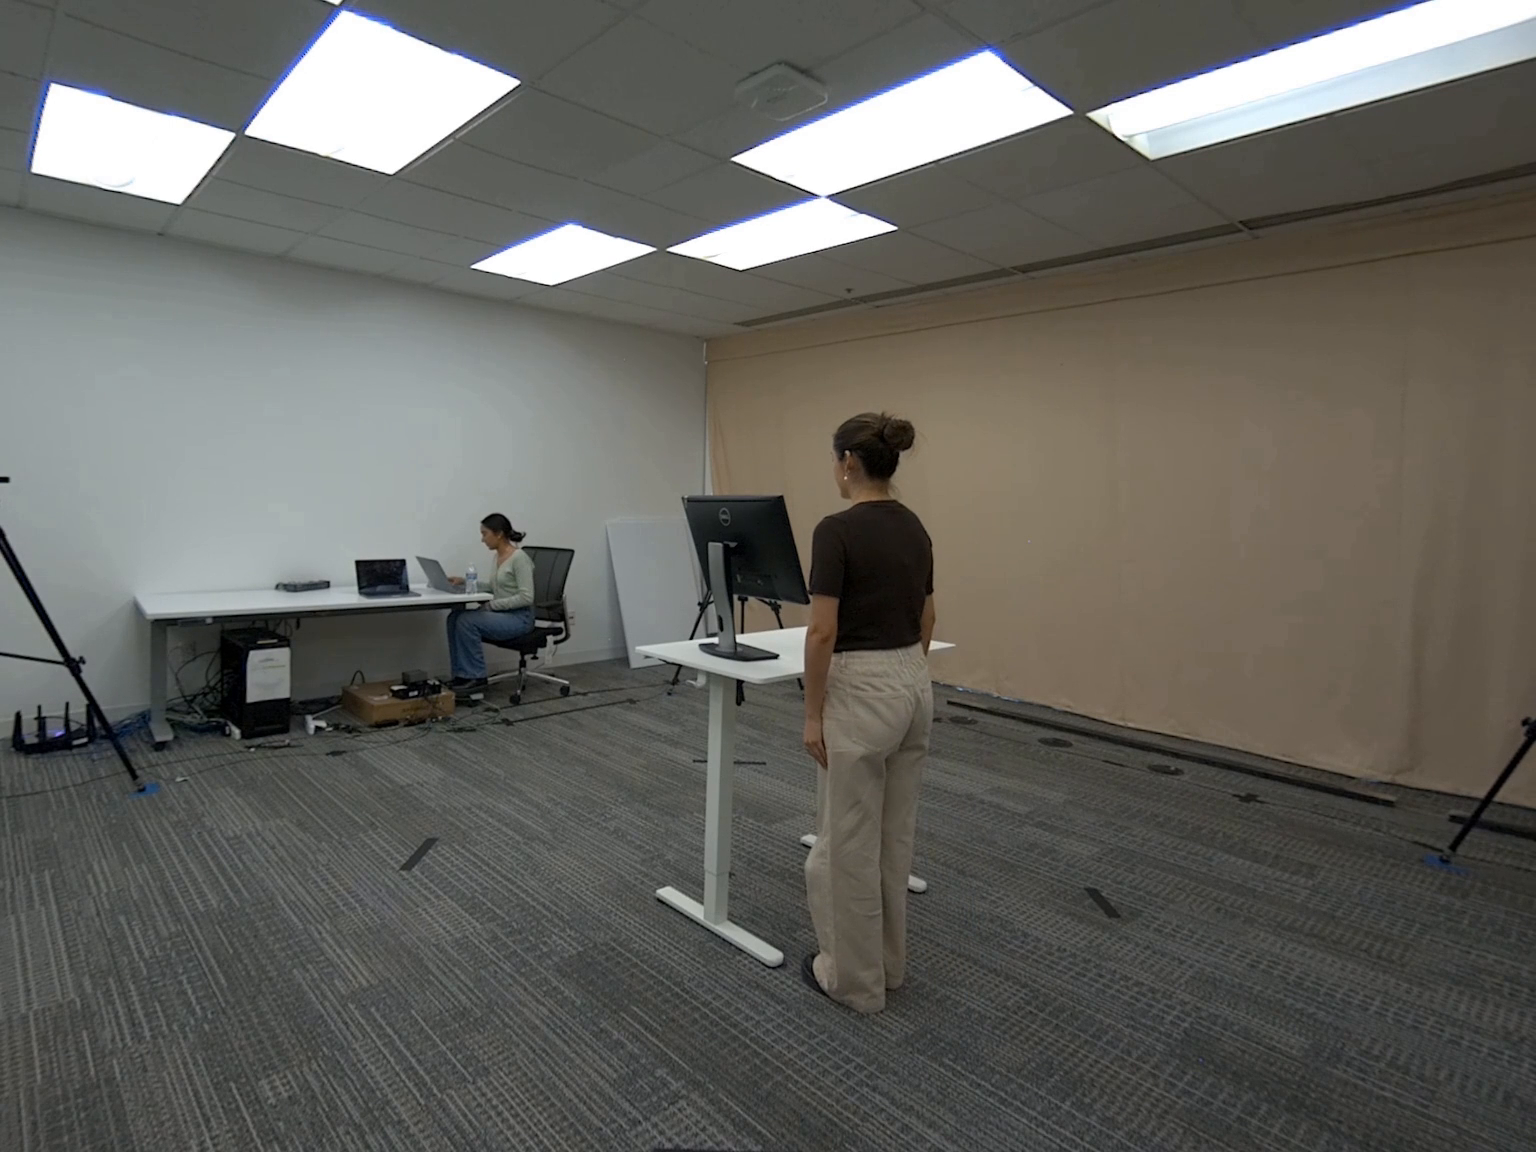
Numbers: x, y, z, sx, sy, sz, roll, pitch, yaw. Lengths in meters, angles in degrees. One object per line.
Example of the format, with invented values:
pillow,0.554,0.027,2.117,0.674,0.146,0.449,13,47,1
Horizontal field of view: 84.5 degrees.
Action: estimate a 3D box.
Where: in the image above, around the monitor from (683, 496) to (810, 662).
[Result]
monitor,-0.113,0.001,2.719,0.183,0.521,0.552,-5,7,-39
